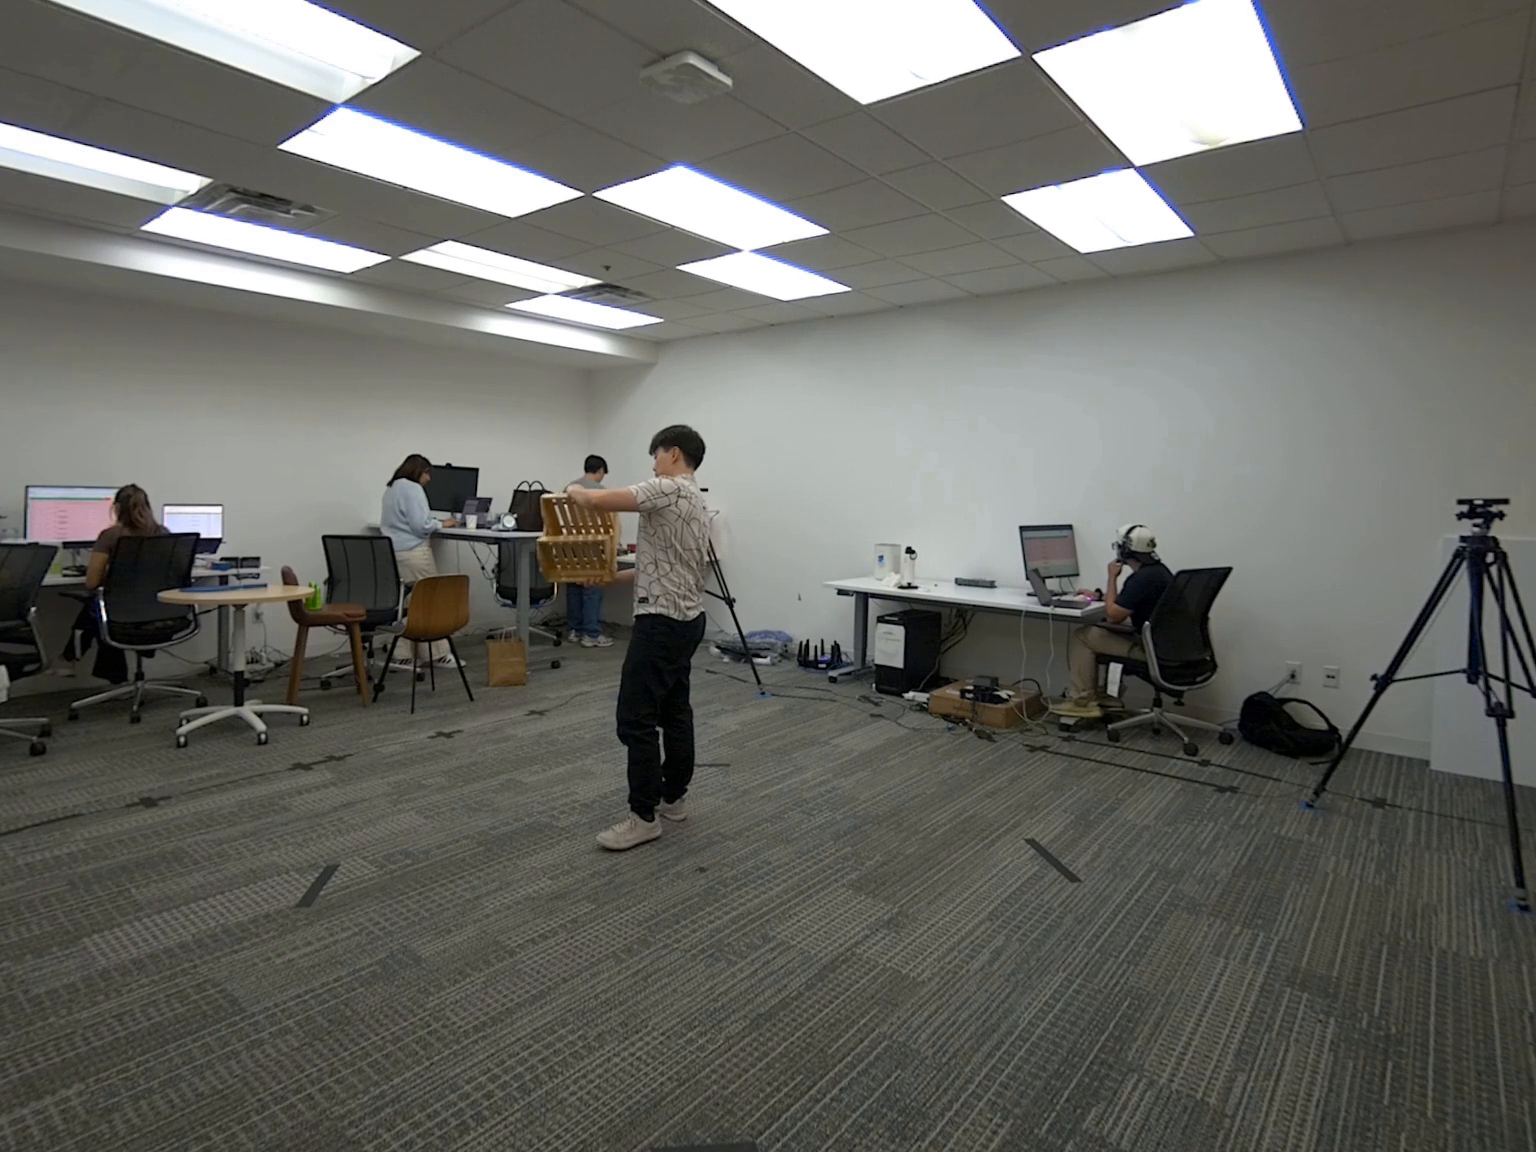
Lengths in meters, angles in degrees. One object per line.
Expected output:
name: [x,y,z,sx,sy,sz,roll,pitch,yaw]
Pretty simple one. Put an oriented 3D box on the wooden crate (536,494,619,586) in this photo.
wooden crate: [-0.829,-0.177,3.631,0.327,0.292,0.280,-1,46,7]
